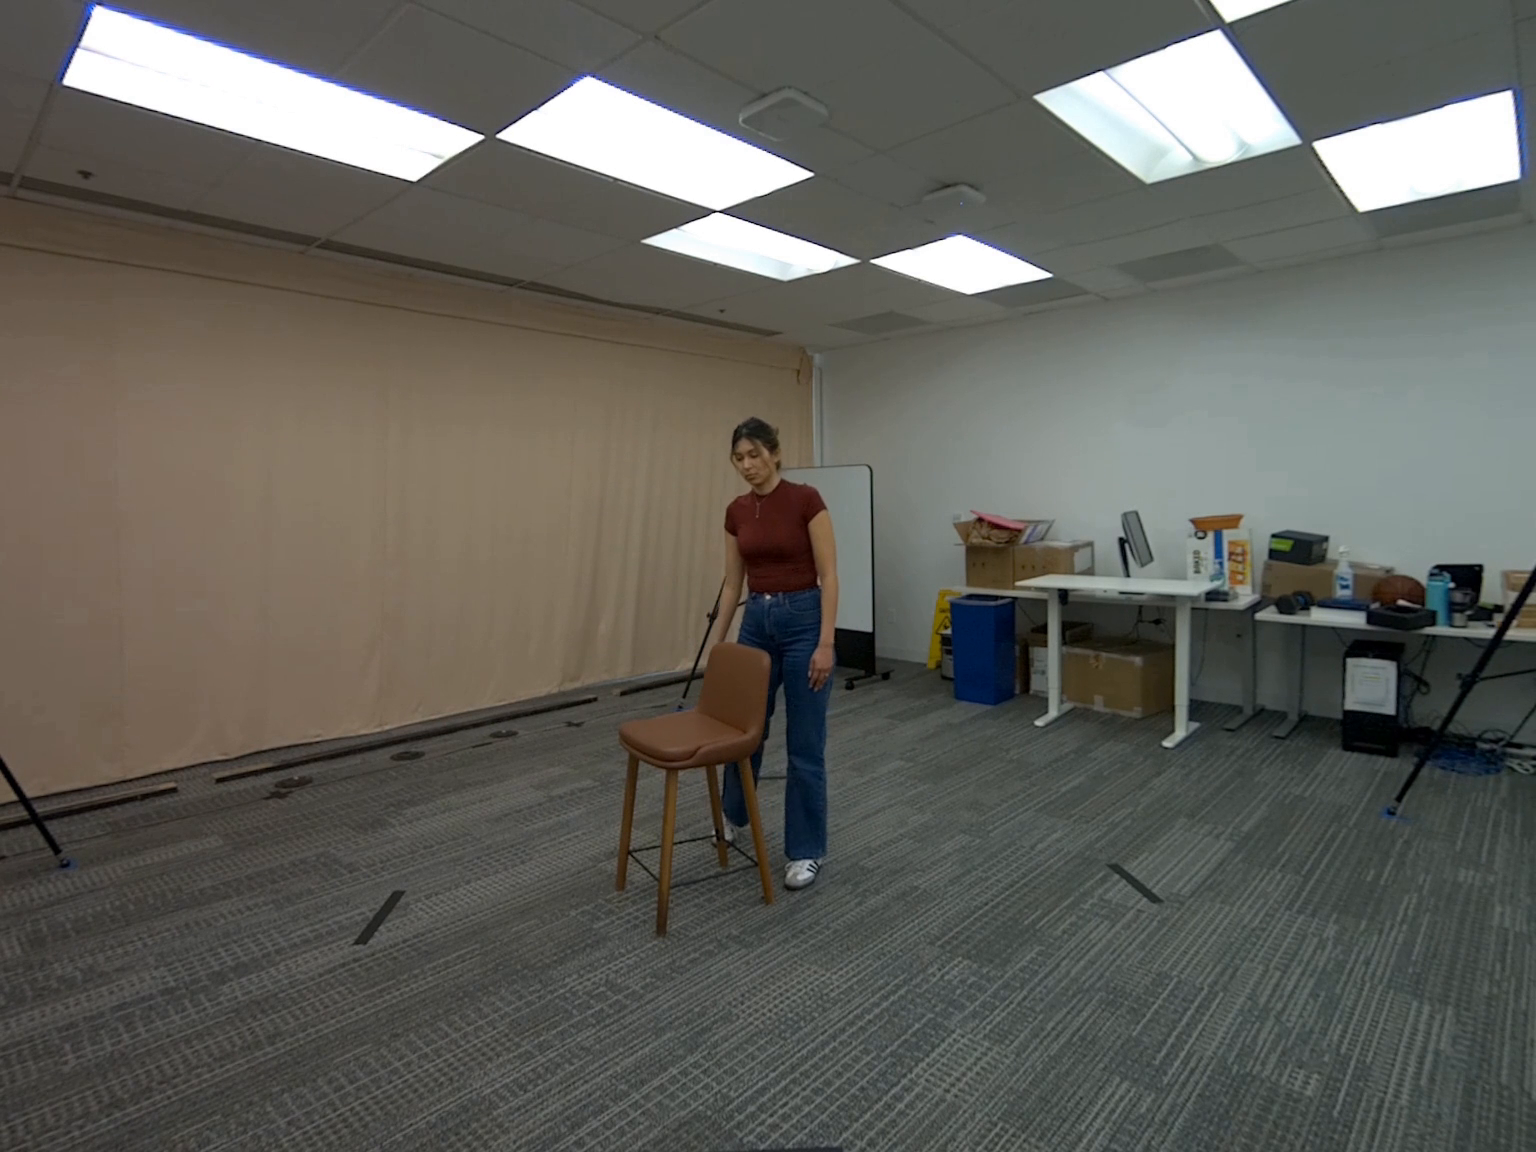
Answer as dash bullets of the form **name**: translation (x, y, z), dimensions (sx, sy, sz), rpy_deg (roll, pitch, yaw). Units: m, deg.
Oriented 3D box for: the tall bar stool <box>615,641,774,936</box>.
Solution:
- **tall bar stool**: translation (-0.256, 0.704, 2.979), dimensions (0.455, 0.888, 0.469), rpy_deg (0, 3, -29)
